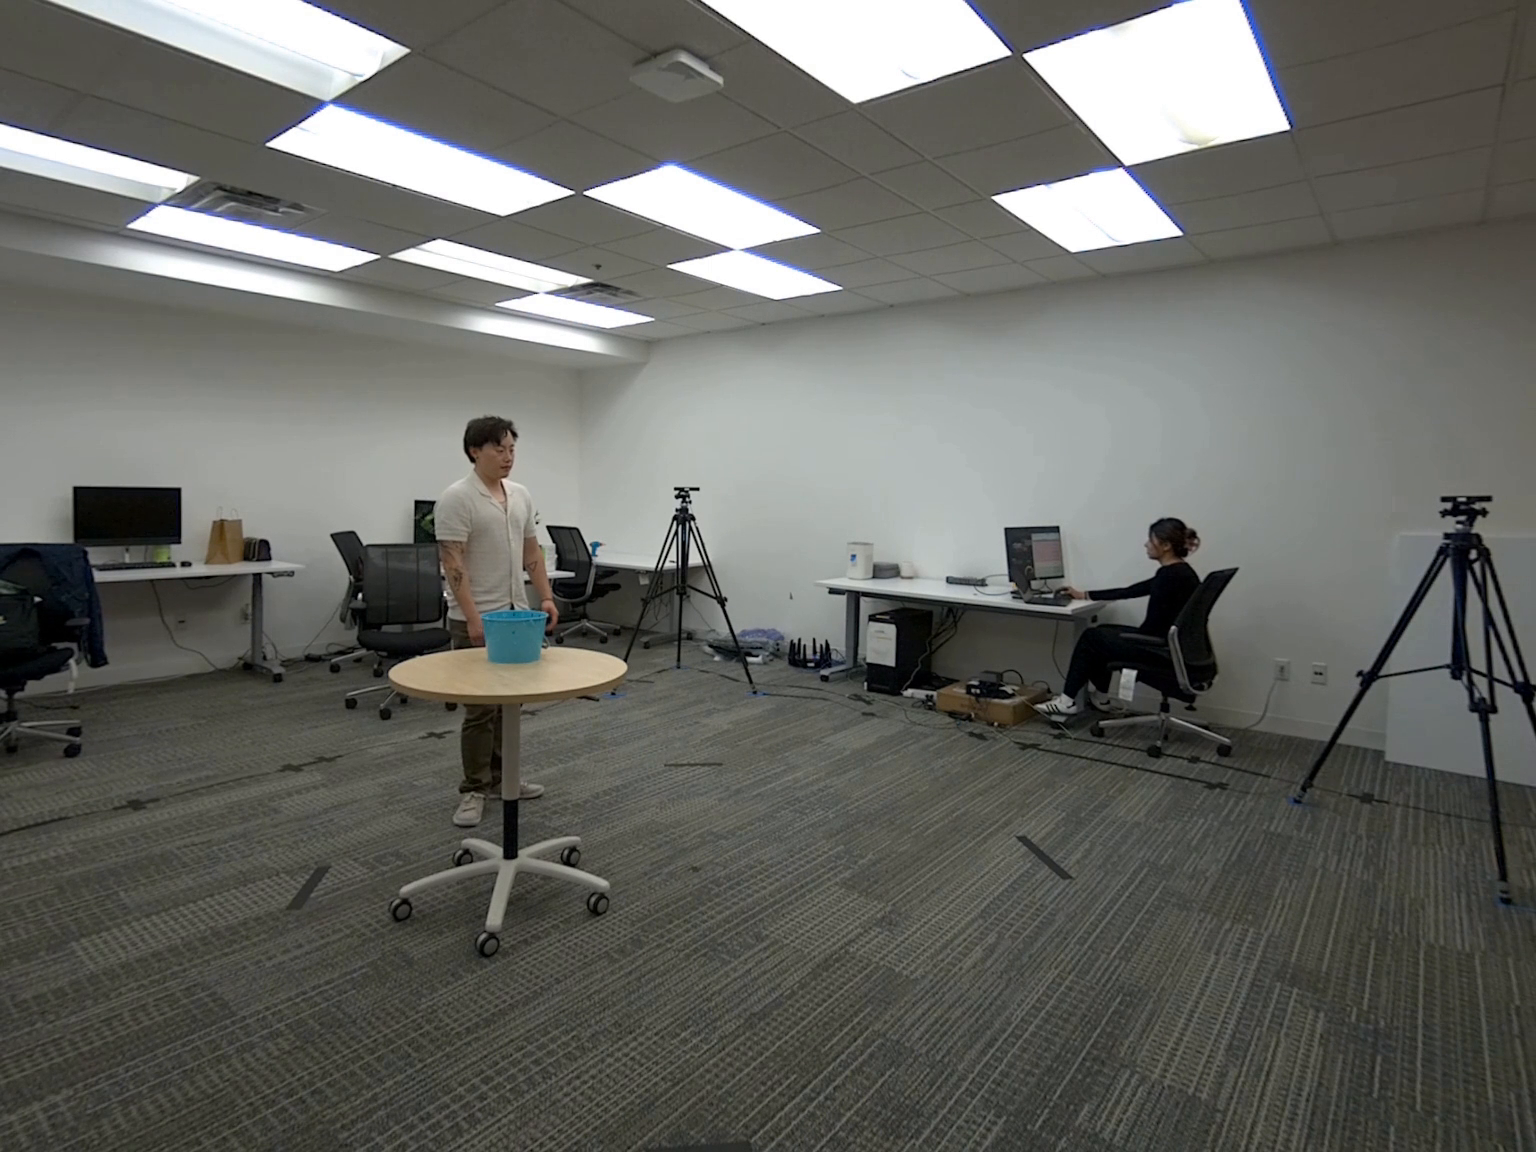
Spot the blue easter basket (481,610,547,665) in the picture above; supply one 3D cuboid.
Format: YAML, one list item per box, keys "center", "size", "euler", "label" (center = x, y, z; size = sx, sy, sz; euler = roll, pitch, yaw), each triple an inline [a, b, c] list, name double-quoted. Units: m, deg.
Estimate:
- center: [-0.892, 0.212, 2.973]
  size: [0.243, 0.155, 0.245]
  euler: [1, 4, -2]
  label: "blue easter basket"
